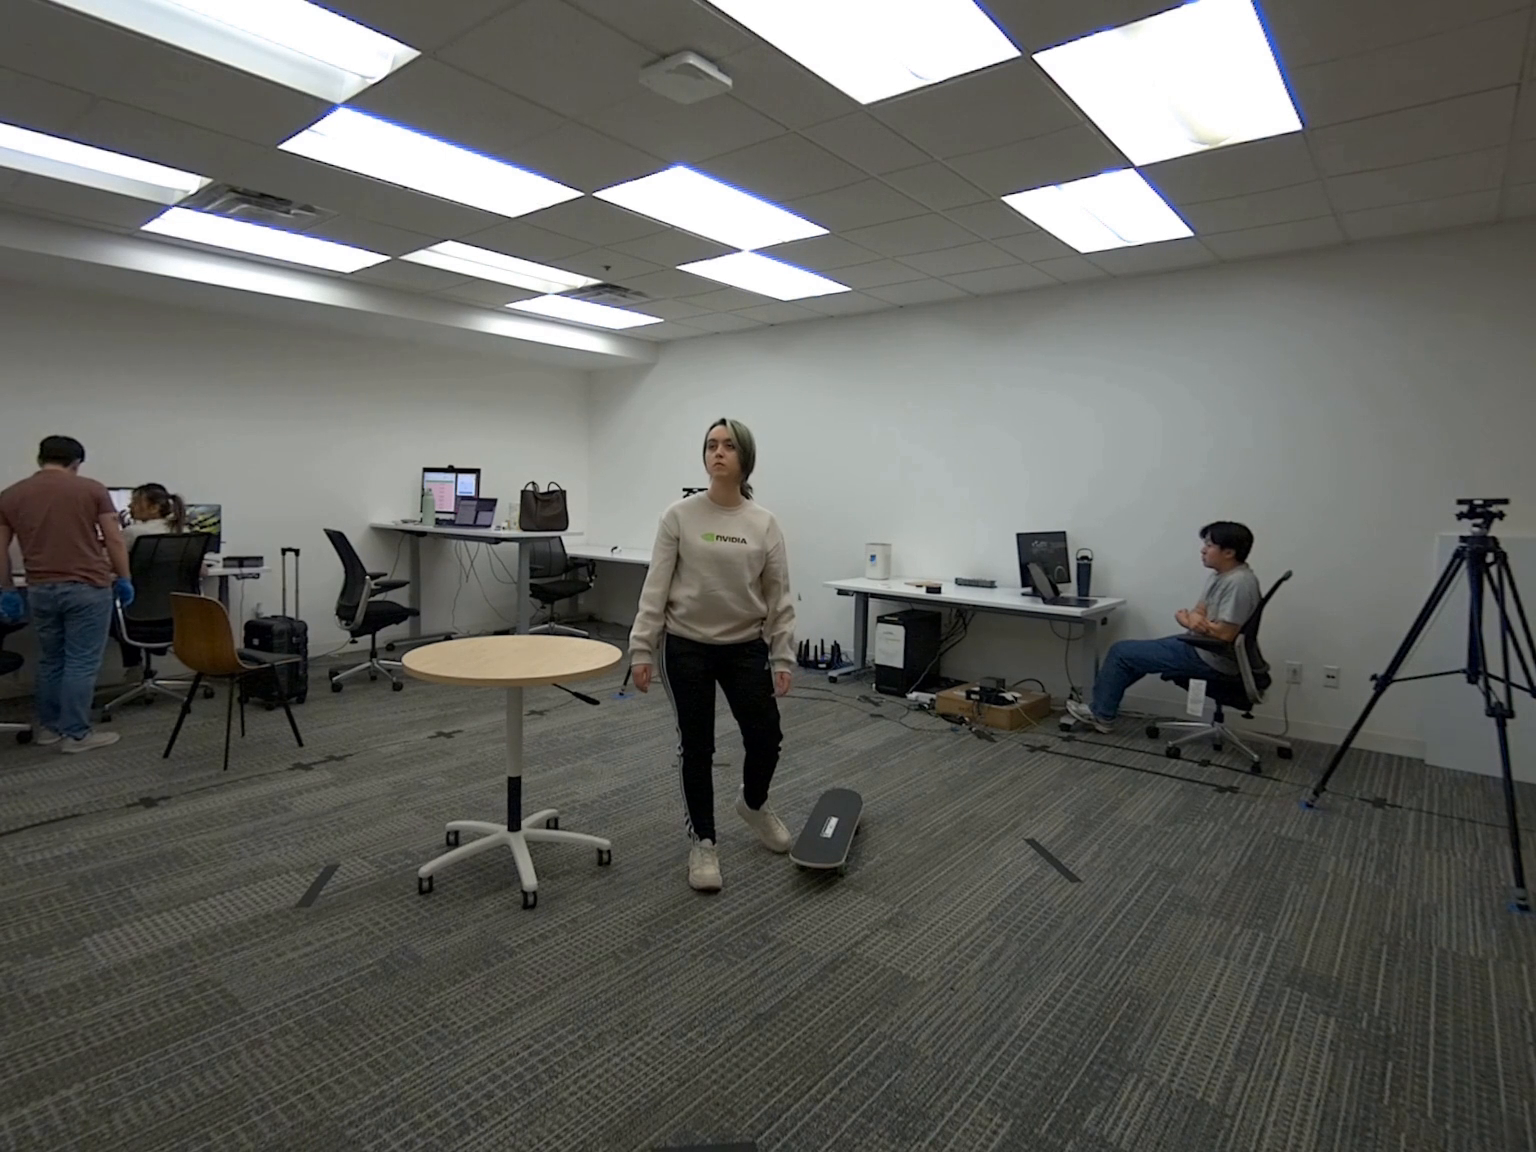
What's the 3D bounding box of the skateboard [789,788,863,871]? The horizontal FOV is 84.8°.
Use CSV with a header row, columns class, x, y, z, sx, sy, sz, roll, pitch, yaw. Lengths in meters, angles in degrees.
class,x,y,z,sx,sy,sz,roll,pitch,yaw
skateboard,0.232,0.999,3.310,0.197,0.110,0.775,2,6,14
